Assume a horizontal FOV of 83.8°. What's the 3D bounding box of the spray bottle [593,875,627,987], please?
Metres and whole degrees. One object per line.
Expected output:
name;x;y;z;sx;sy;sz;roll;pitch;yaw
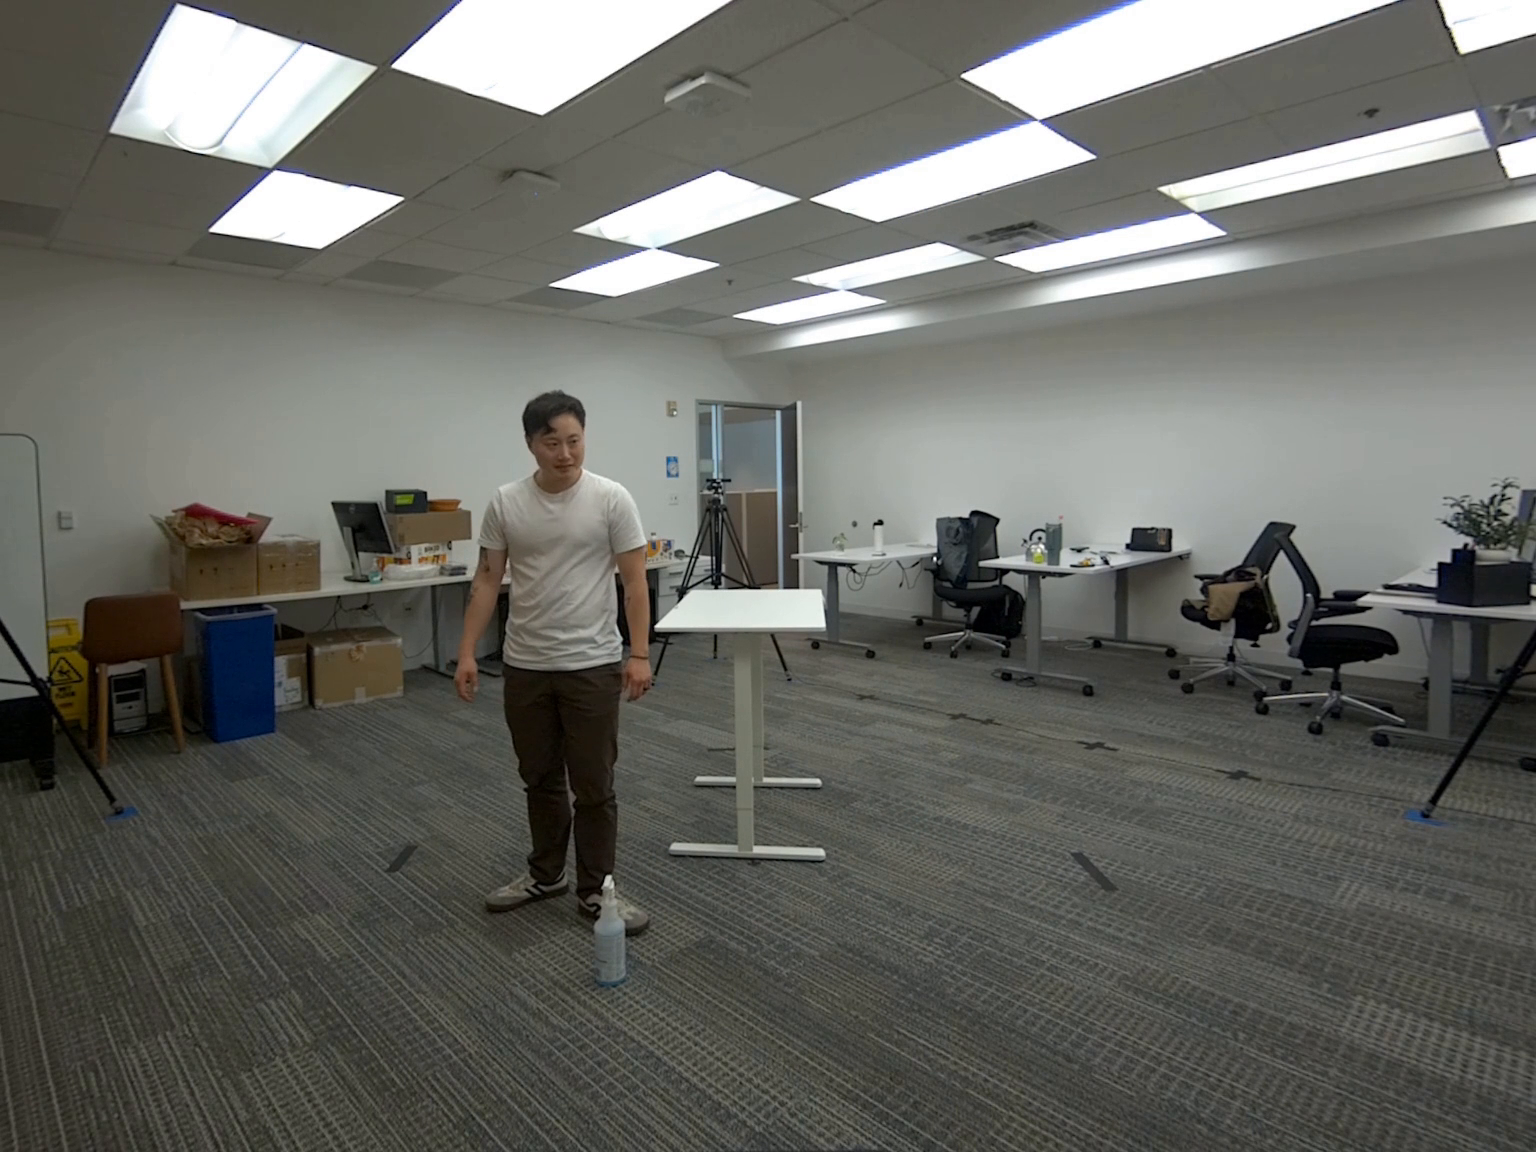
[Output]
spray bottle;-0.440;0.994;2.395;0.089;0.296;0.088;2;5;21
